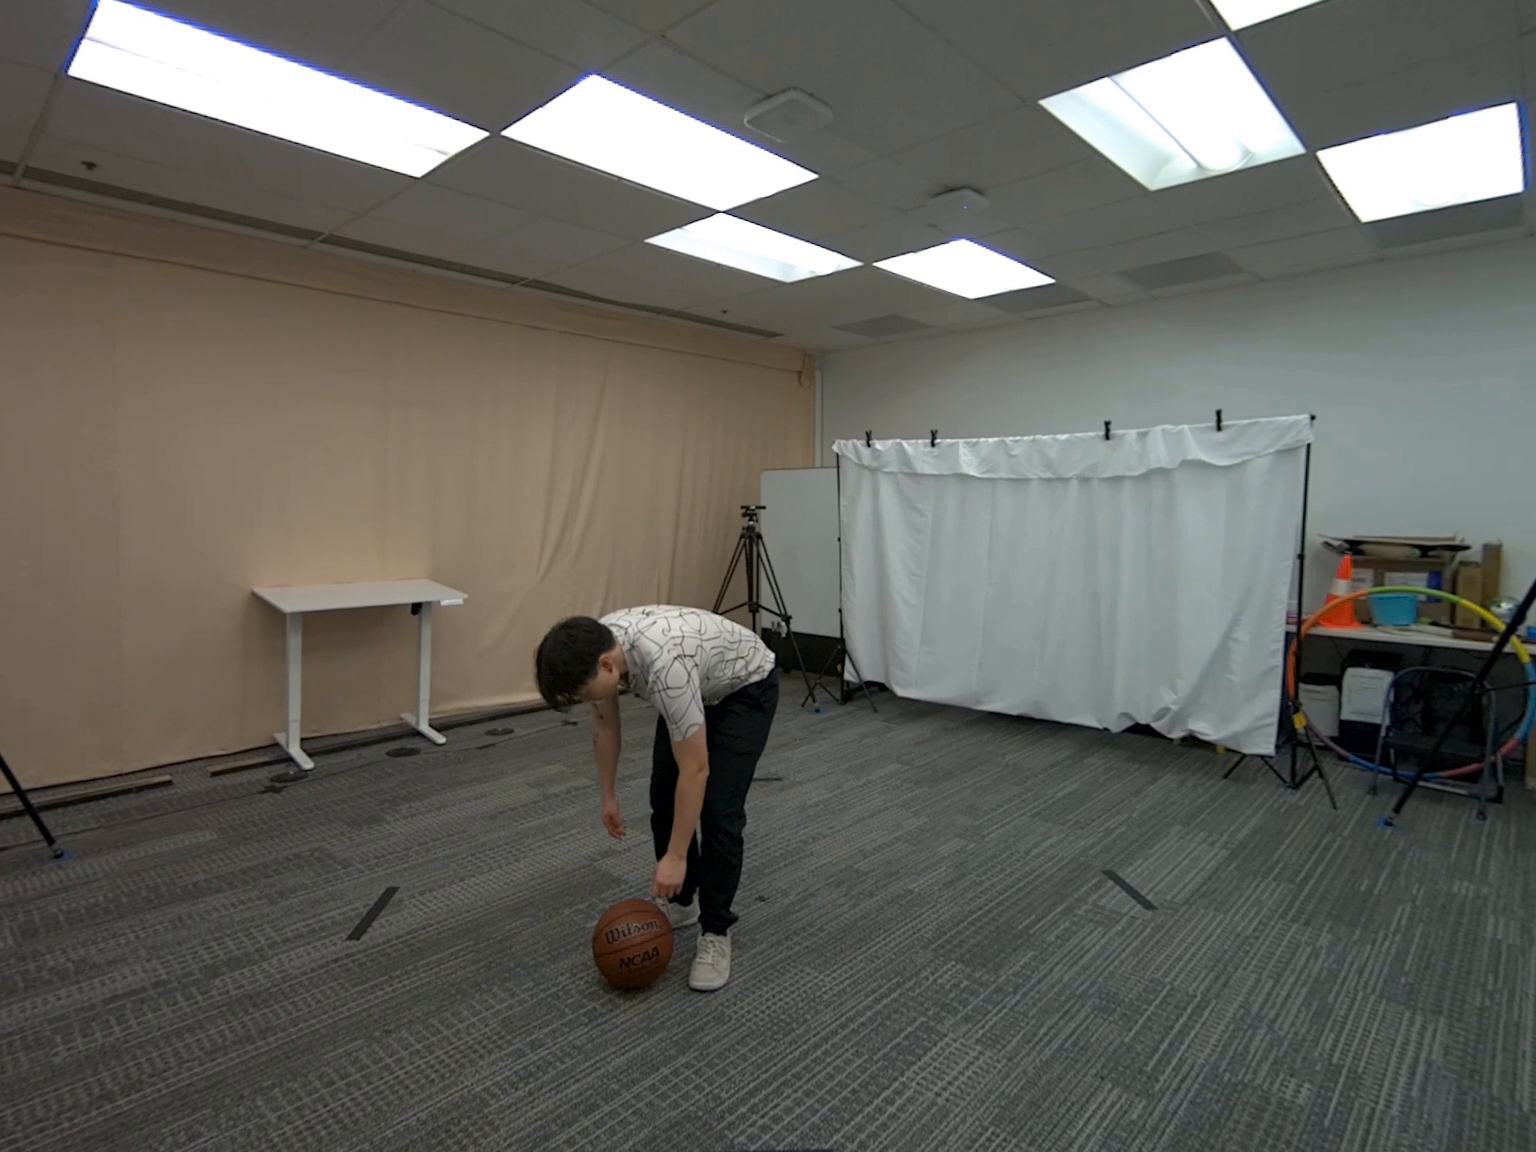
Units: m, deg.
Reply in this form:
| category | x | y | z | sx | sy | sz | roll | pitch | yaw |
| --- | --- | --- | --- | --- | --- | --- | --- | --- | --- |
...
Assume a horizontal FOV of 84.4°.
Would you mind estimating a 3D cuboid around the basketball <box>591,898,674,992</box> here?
| category | x | y | z | sx | sy | sz | roll | pitch | yaw |
| --- | --- | --- | --- | --- | --- | --- | --- | --- | --- |
| basketball | -0.393 | 1.070 | 2.453 | 0.236 | 0.235 | 0.237 | 0 | 4 | -2 |
